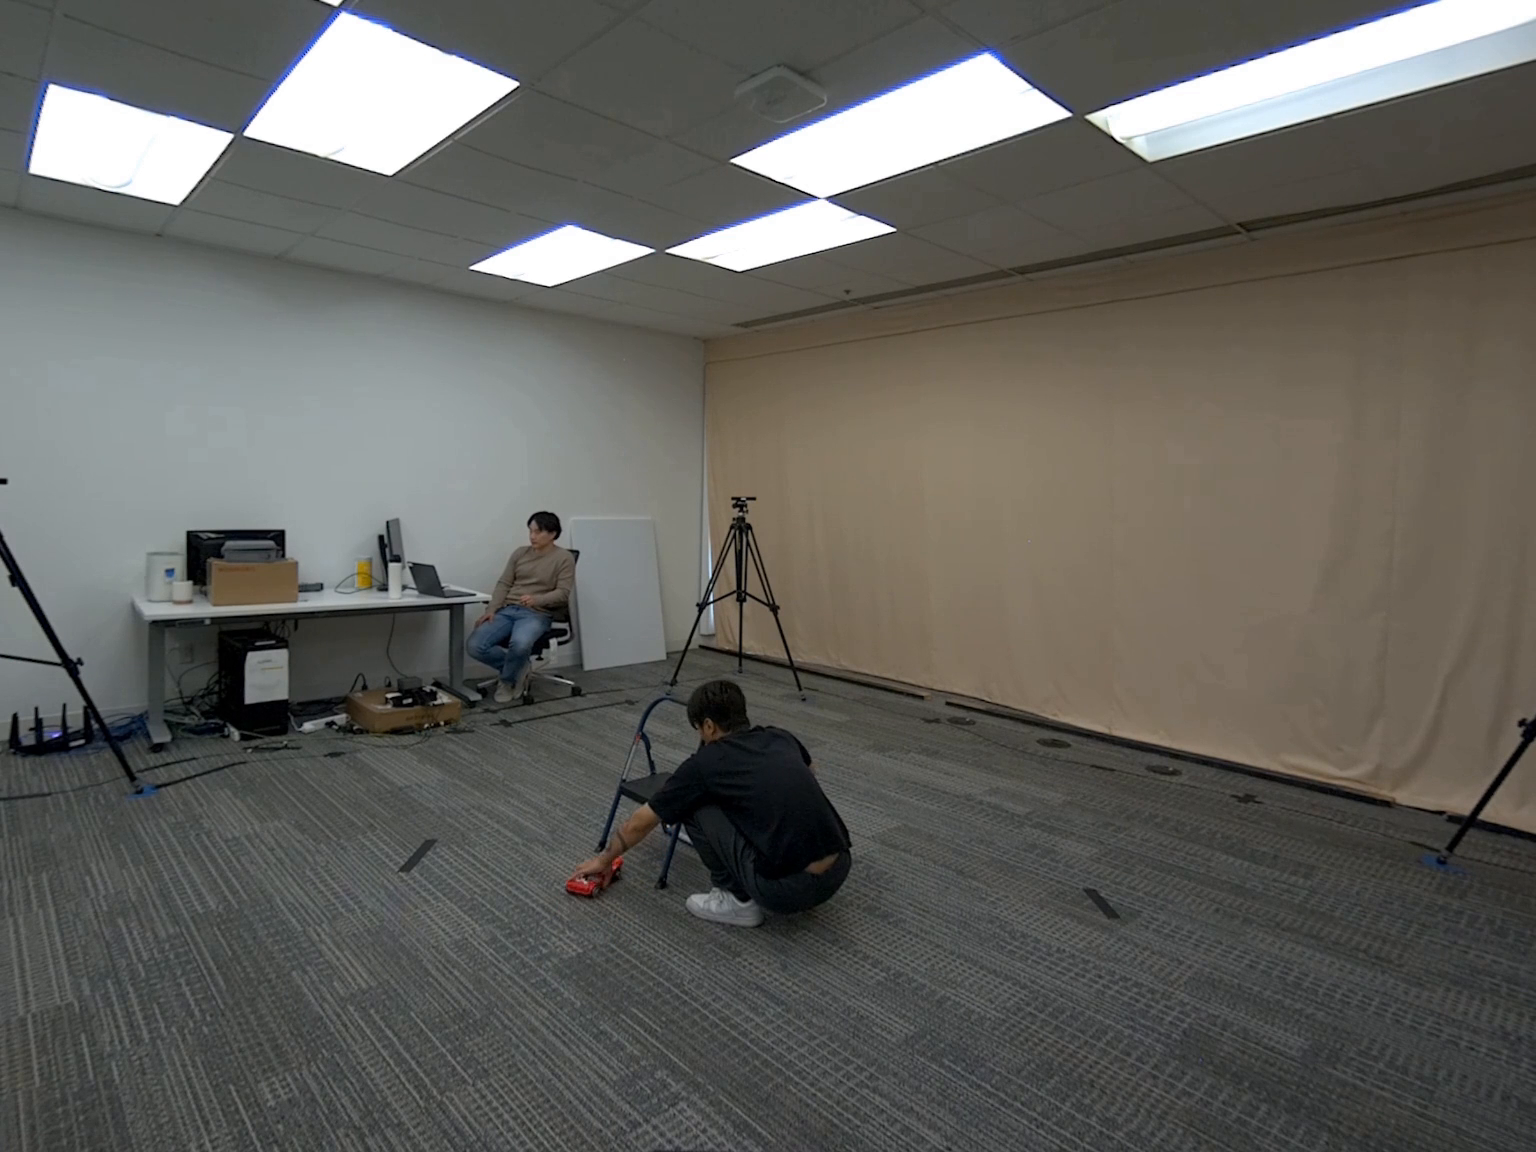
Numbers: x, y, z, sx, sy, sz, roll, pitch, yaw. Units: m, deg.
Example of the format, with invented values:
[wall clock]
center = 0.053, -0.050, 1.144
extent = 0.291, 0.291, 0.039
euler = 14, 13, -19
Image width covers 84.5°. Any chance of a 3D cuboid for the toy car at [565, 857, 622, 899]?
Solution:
[toy car]
center = -0.608, 1.072, 3.014
extent = 0.132, 0.082, 0.253
euler = 3, 18, 22
